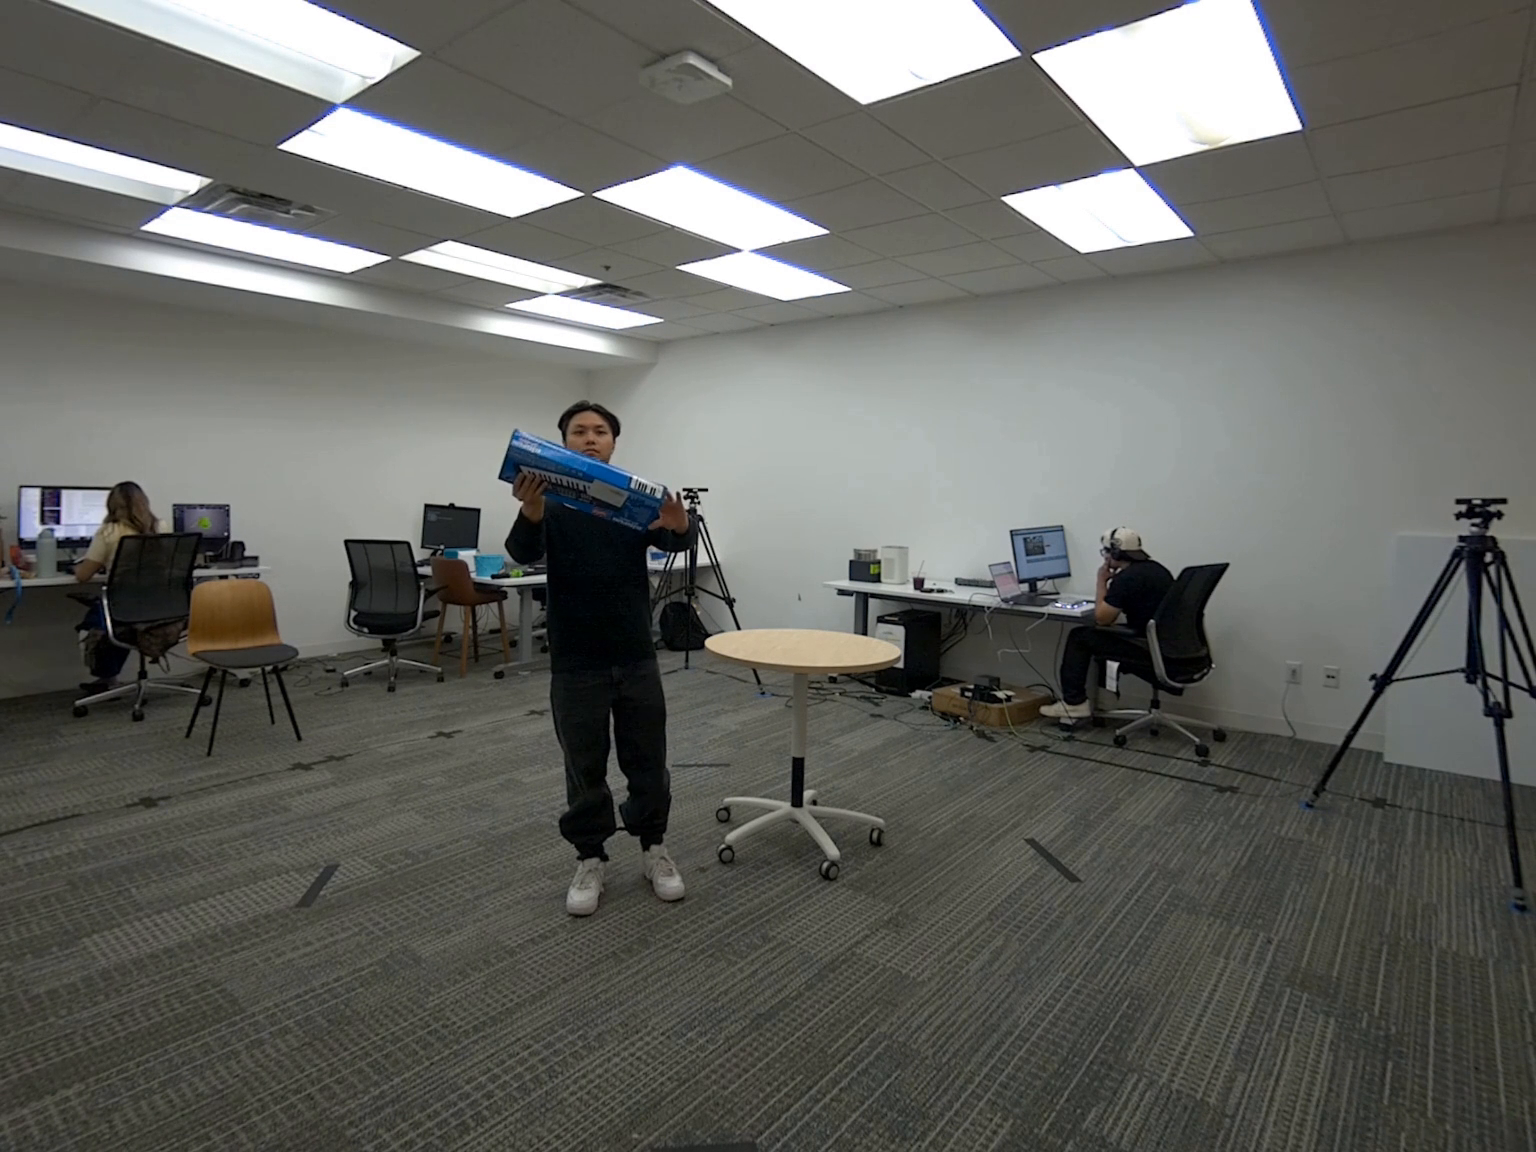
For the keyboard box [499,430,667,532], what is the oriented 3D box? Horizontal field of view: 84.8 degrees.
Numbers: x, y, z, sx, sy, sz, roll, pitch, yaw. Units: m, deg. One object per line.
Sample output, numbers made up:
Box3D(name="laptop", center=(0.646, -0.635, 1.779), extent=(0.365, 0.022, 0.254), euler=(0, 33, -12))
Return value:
Box3D(name="keyboard box", center=(-0.525, -0.260, 2.351), extent=(0.428, 0.060, 0.176), euler=(21, -35, -15))
